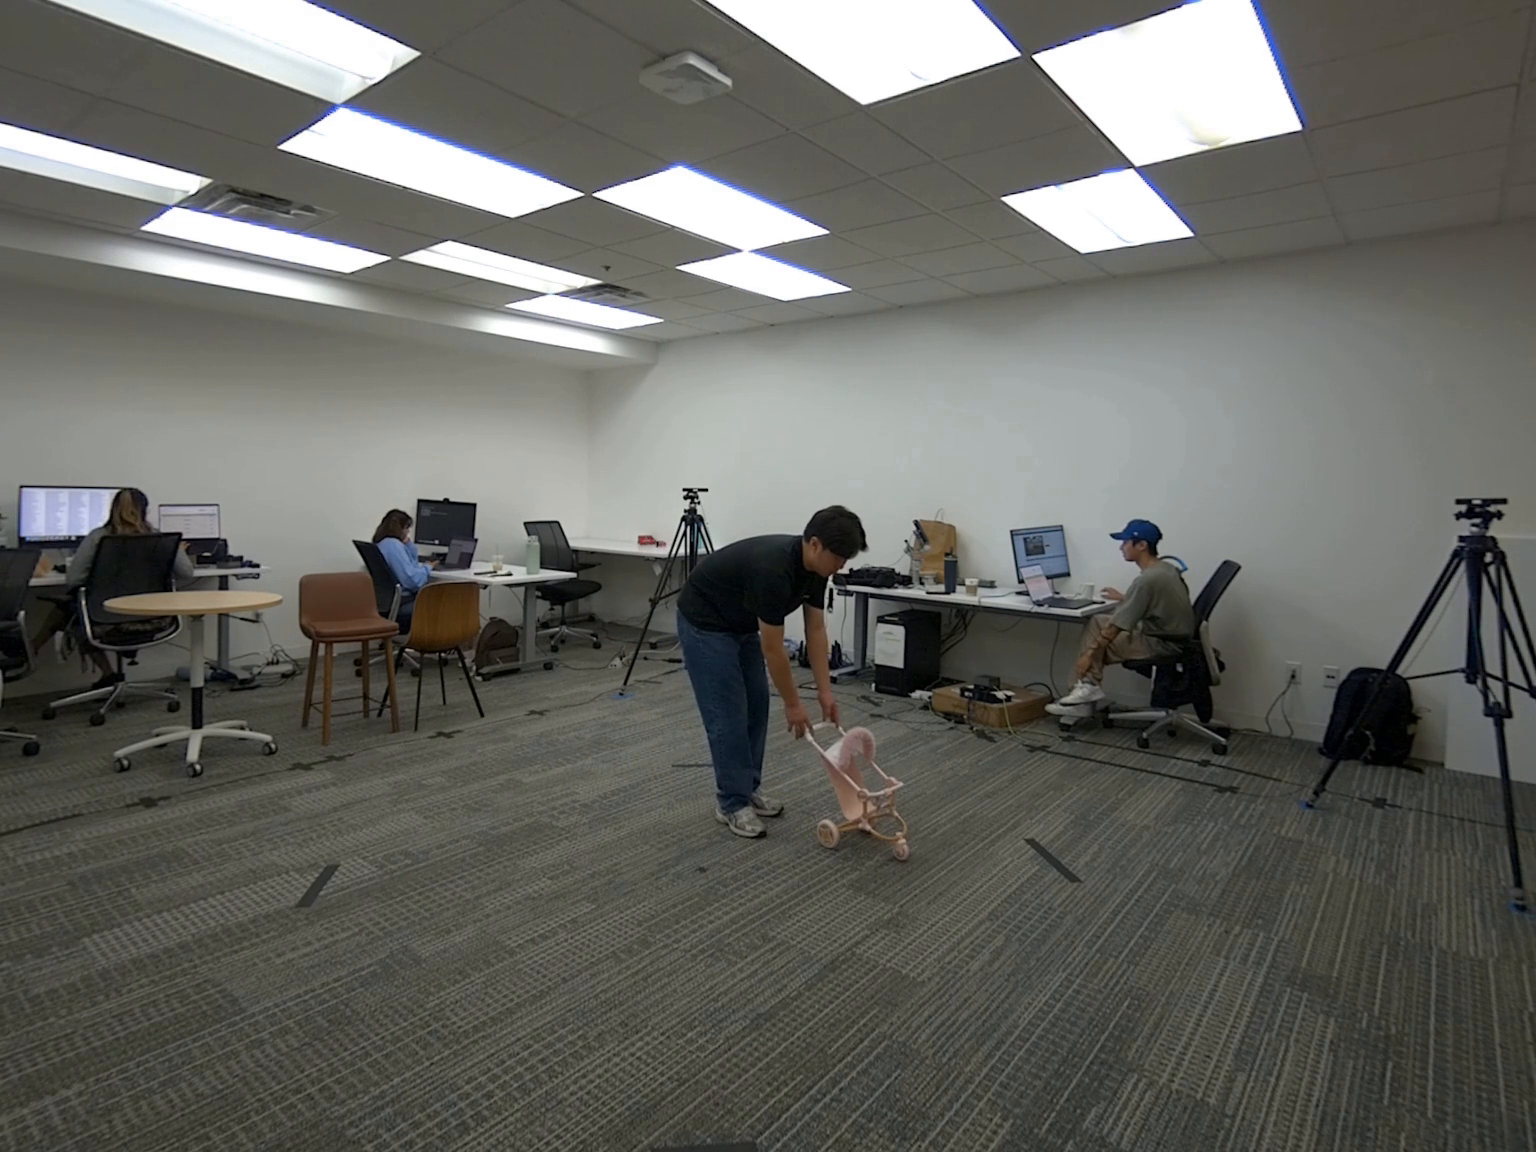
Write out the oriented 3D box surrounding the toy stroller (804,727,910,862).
[{"bbox_3d":[0.358,0.833,3.354,0.273,0.540,0.348,-3,-11,-42],"label":"toy stroller"}]
